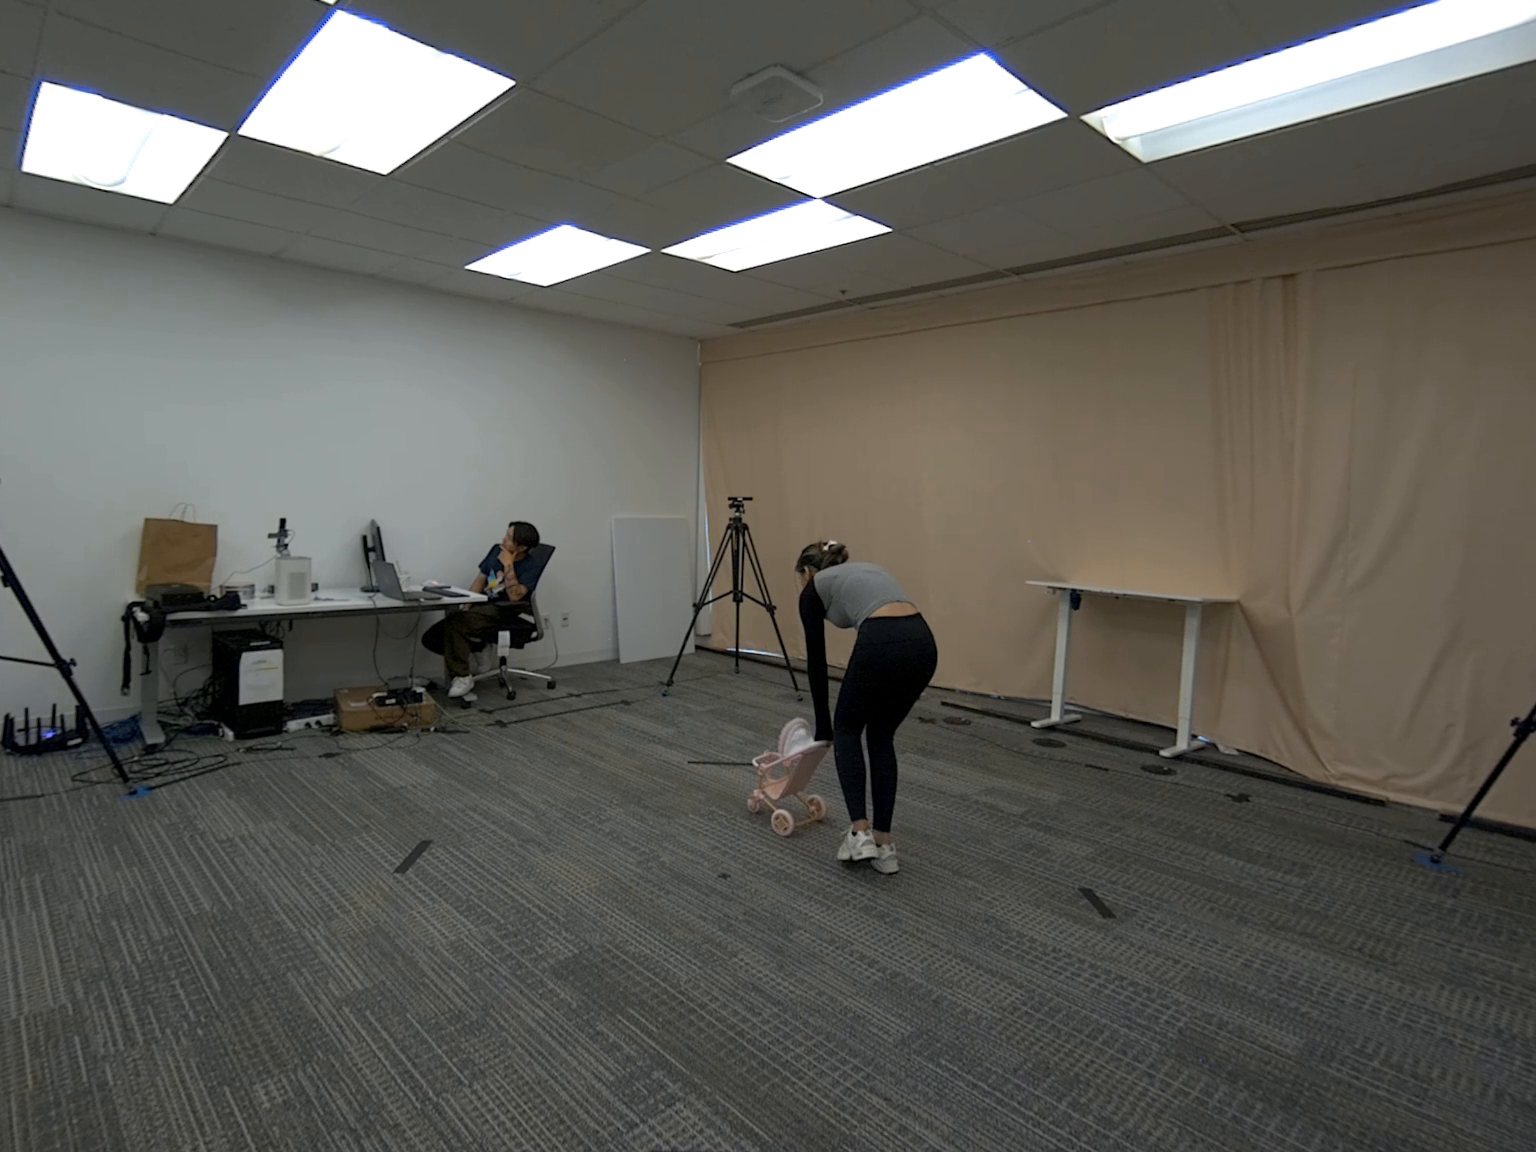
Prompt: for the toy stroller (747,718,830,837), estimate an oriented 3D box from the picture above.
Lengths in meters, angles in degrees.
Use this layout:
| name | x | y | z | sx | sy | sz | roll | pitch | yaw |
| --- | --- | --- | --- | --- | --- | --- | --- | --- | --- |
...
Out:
| name | x | y | z | sx | sy | sz | roll | pitch | yaw |
| --- | --- | --- | --- | --- | --- | --- | --- | --- | --- |
| toy stroller | 0.088 | 0.844 | 3.620 | 0.275 | 0.531 | 0.352 | 0 | 20 | -47 |
